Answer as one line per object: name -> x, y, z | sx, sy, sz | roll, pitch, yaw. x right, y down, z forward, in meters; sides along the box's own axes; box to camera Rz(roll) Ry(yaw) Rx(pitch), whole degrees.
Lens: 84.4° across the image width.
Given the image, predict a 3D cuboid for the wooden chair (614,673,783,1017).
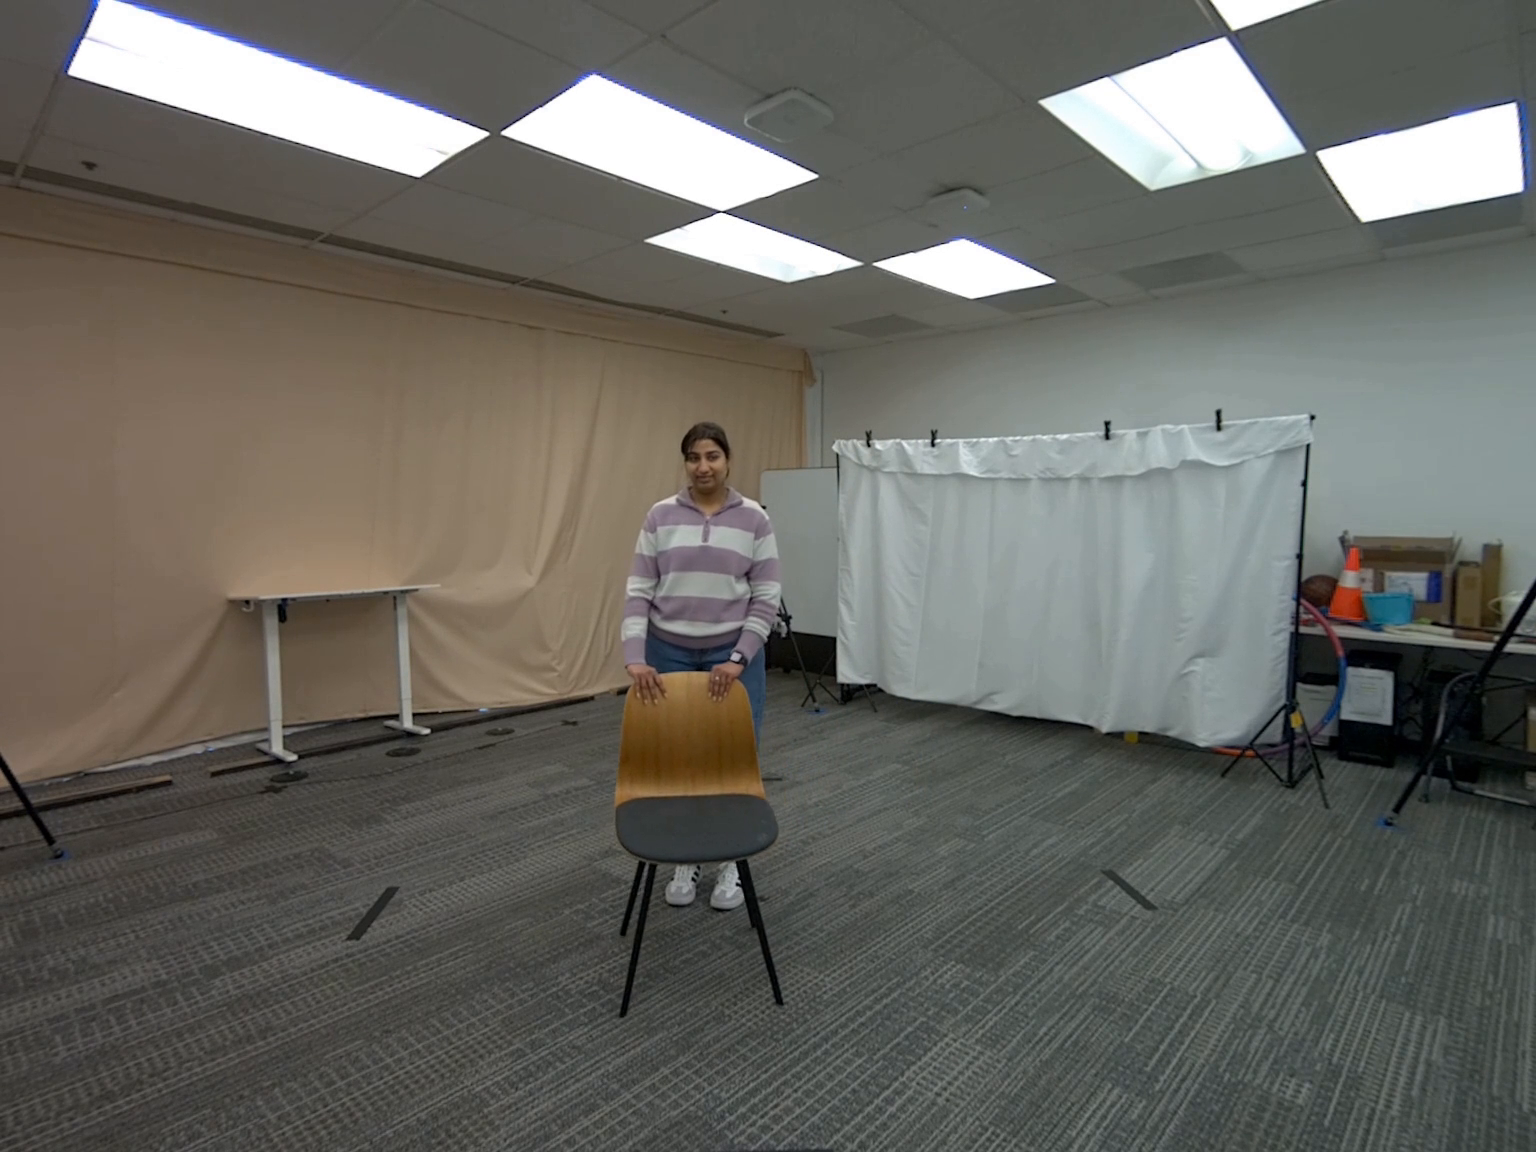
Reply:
wooden chair -> -0.207, 0.752, 2.503 | 0.474, 0.878, 0.527 | 0, -1, -8
